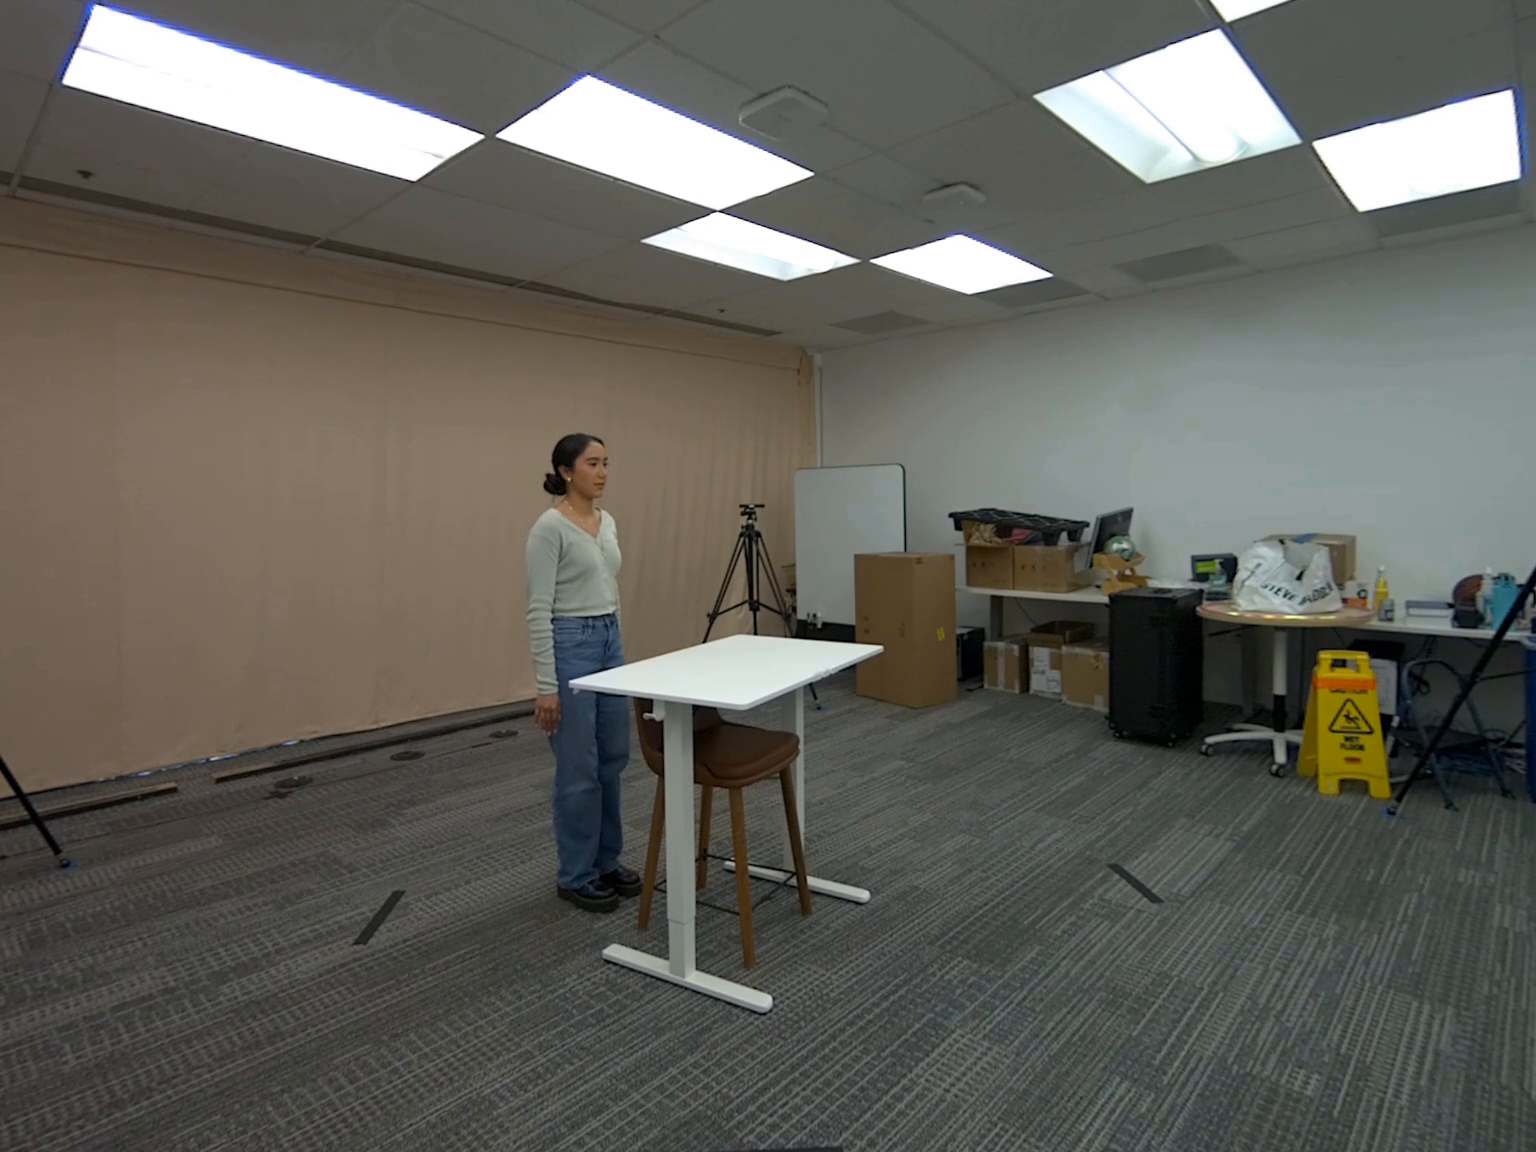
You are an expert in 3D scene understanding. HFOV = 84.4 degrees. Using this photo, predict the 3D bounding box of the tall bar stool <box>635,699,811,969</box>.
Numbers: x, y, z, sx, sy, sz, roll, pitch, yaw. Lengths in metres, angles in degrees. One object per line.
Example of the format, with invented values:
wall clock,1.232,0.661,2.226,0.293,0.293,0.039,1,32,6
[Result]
tall bar stool,-0.160,0.726,2.792,0.481,0.888,0.444,-2,3,31
